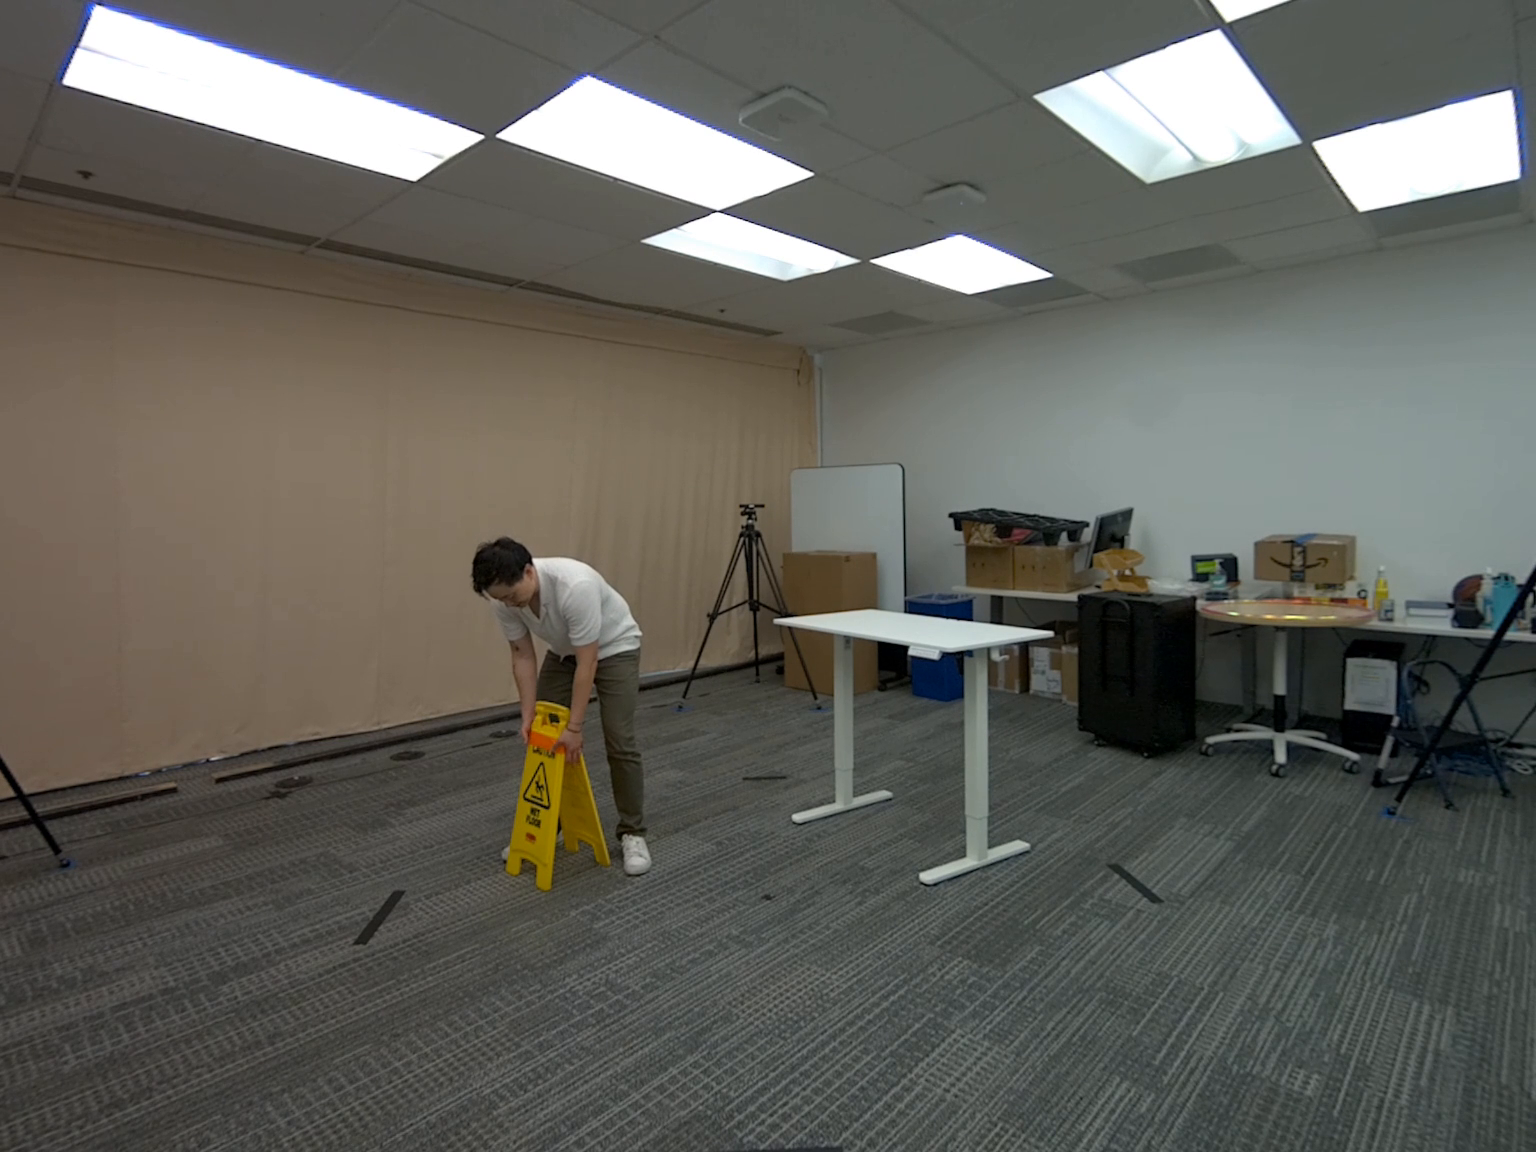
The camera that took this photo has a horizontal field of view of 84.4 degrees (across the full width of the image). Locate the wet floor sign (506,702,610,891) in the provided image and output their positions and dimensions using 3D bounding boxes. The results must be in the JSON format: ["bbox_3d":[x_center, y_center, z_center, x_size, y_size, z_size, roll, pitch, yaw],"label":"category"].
[{"bbox_3d":[-0.820,0.816,3.251,0.291,0.645,0.281,1,3,41],"label":"wet floor sign"}]
